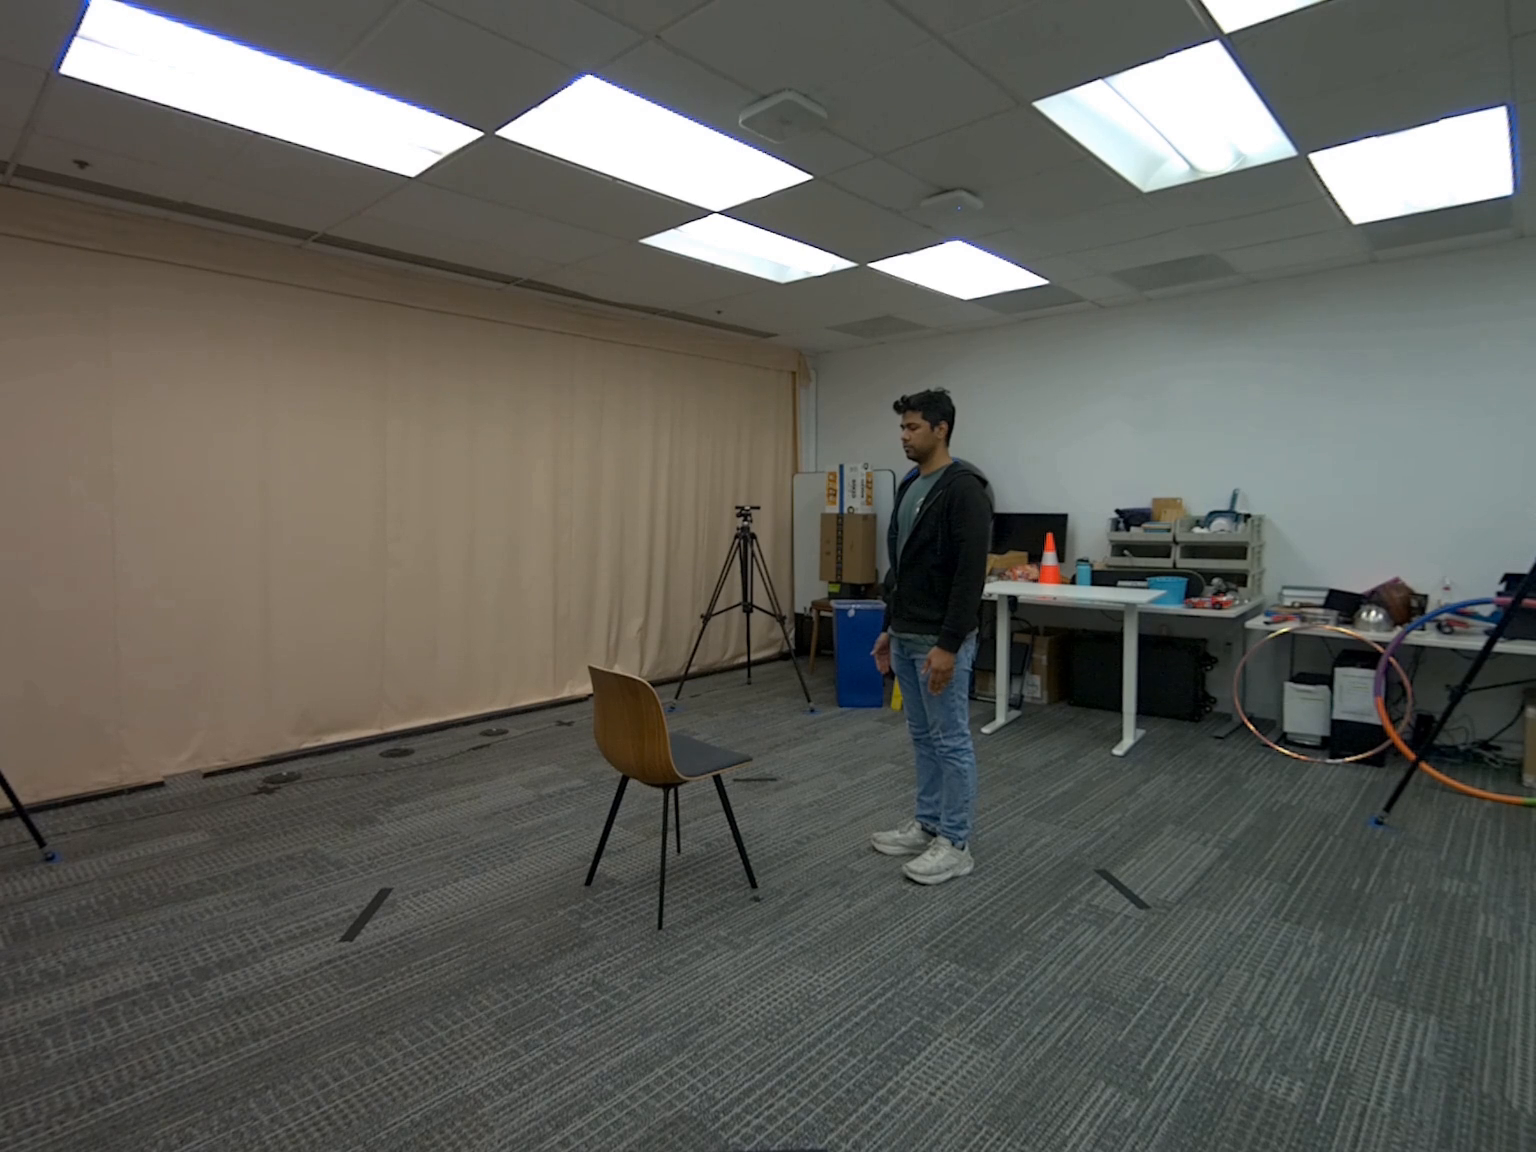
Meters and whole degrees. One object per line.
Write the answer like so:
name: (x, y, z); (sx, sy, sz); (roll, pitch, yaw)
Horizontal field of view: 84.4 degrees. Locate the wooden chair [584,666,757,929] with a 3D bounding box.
wooden chair: (-0.342, 0.712, 3.053); (0.508, 0.874, 0.494); (-9, 8, -44)
